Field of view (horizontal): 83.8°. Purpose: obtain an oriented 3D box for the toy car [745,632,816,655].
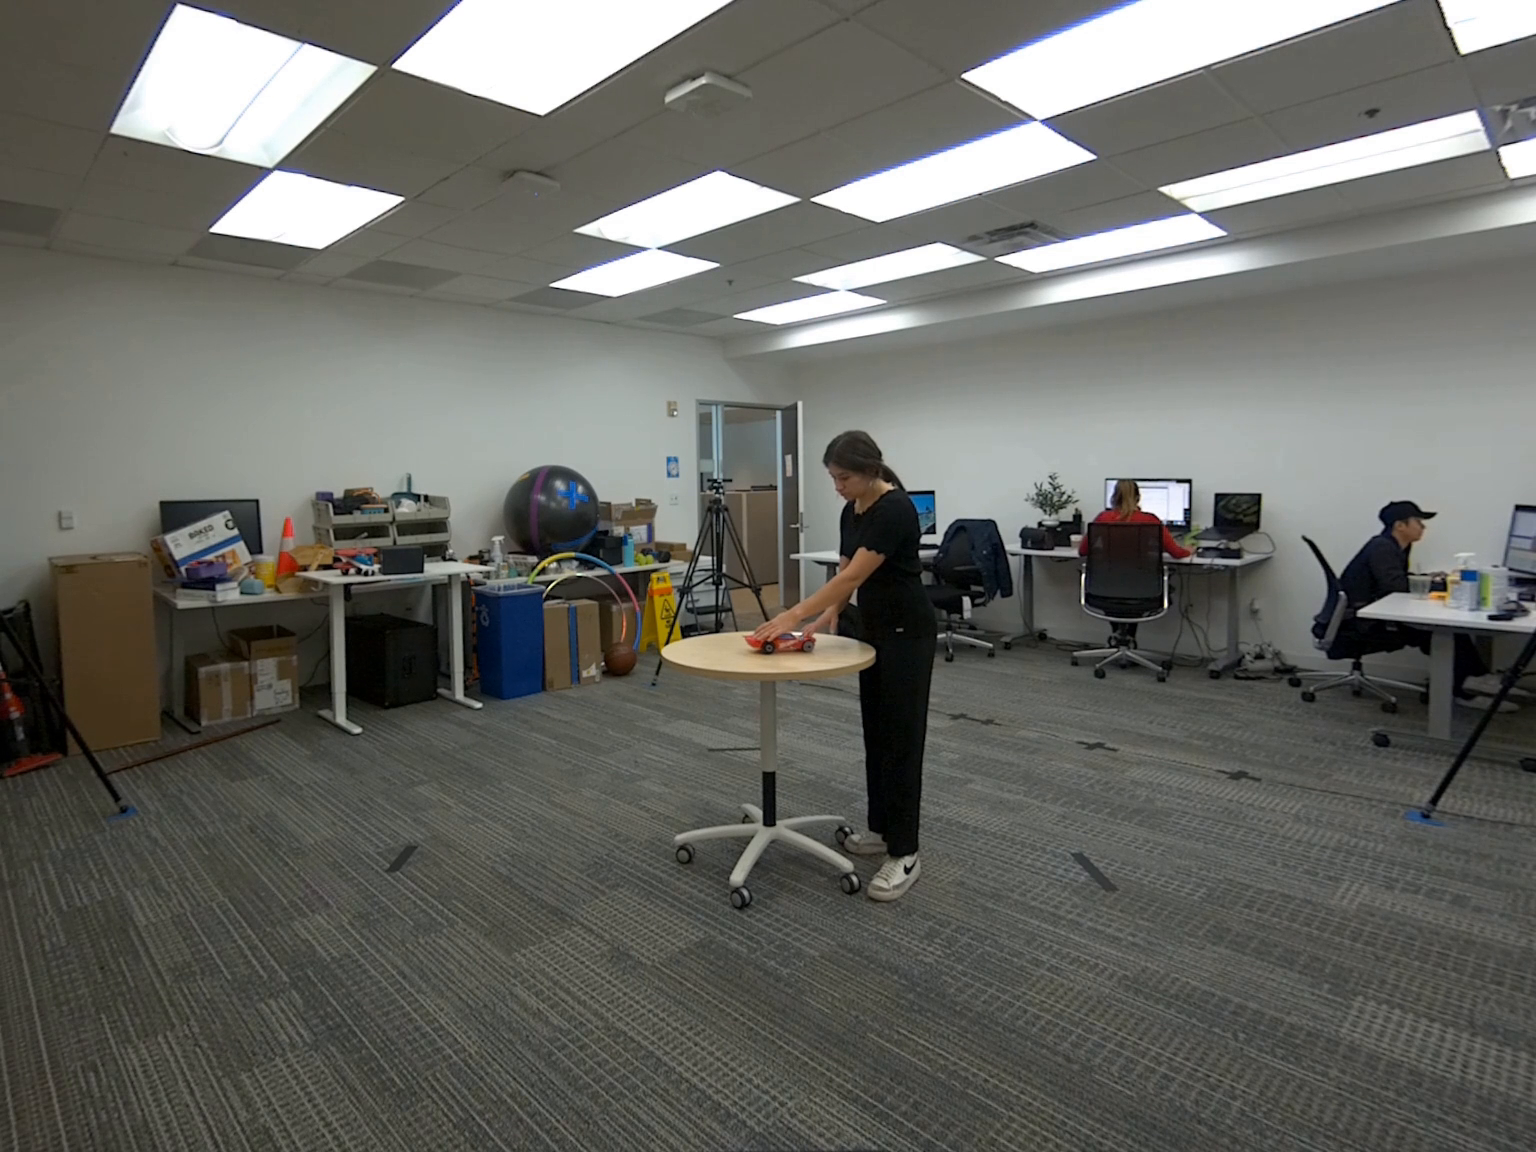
[{"bbox_3d":[0.034,0.235,3.038,0.251,0.083,0.132,11,3,-13],"label":"toy car"}]
